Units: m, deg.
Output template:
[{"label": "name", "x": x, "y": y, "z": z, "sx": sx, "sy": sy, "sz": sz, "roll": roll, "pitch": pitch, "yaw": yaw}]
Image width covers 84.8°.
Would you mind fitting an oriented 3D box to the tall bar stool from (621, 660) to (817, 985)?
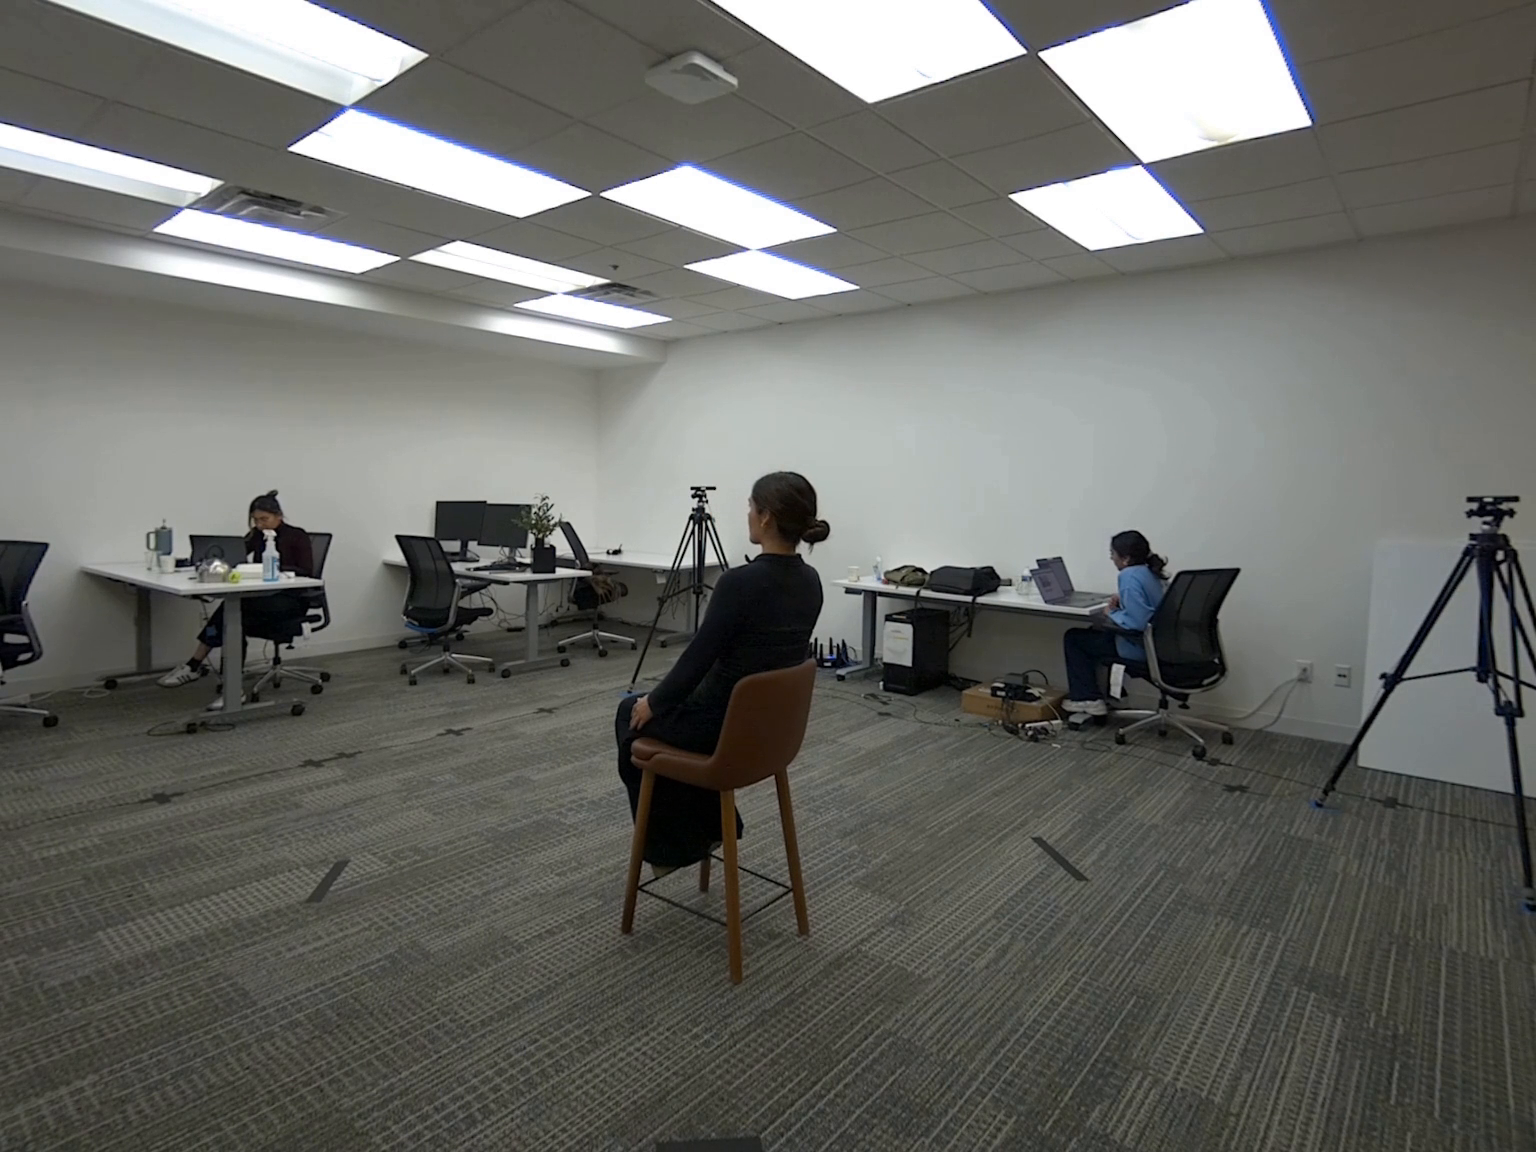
[{"label": "tall bar stool", "x": -0.149, "y": 0.678, "z": 2.624, "sx": 0.483, "sy": 0.886, "sz": 0.443, "roll": 7, "pitch": 6, "yaw": 37}]
